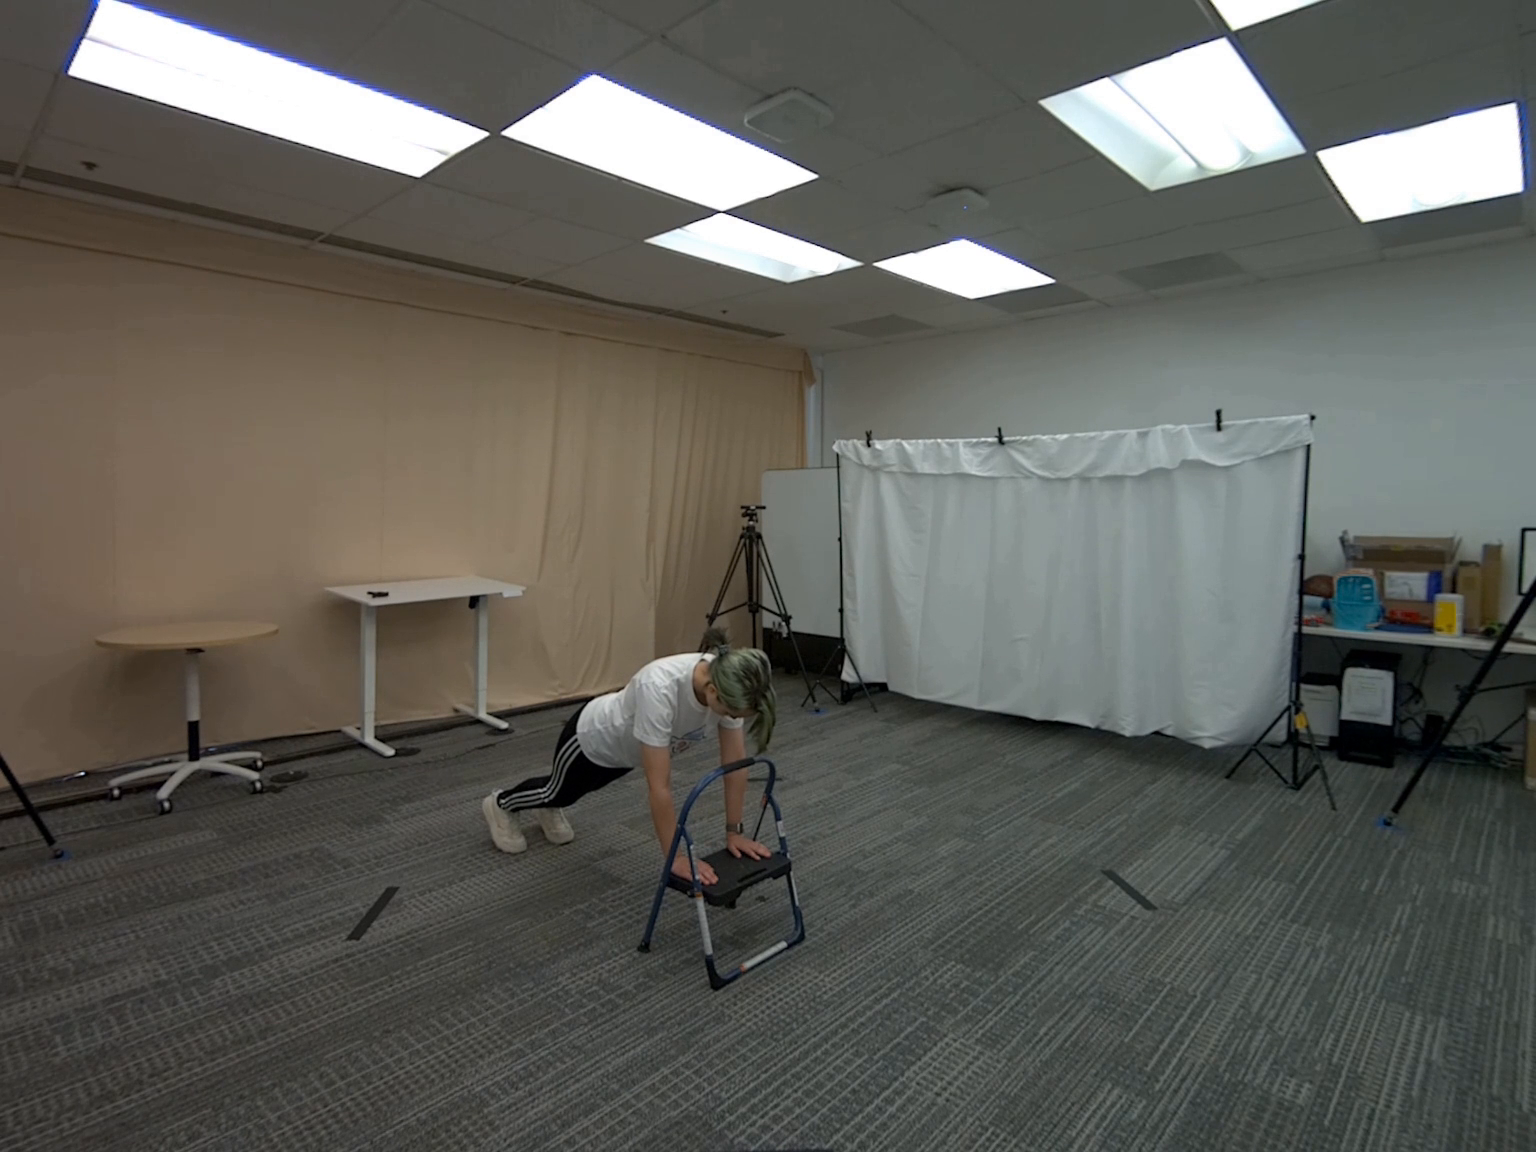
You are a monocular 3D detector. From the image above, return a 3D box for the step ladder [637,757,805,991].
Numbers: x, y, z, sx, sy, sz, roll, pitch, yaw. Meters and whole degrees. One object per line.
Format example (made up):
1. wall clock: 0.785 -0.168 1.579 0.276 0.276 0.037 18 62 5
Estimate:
1. step ladder: -0.139 0.870 2.661 0.361 0.605 0.417 3 4 42
